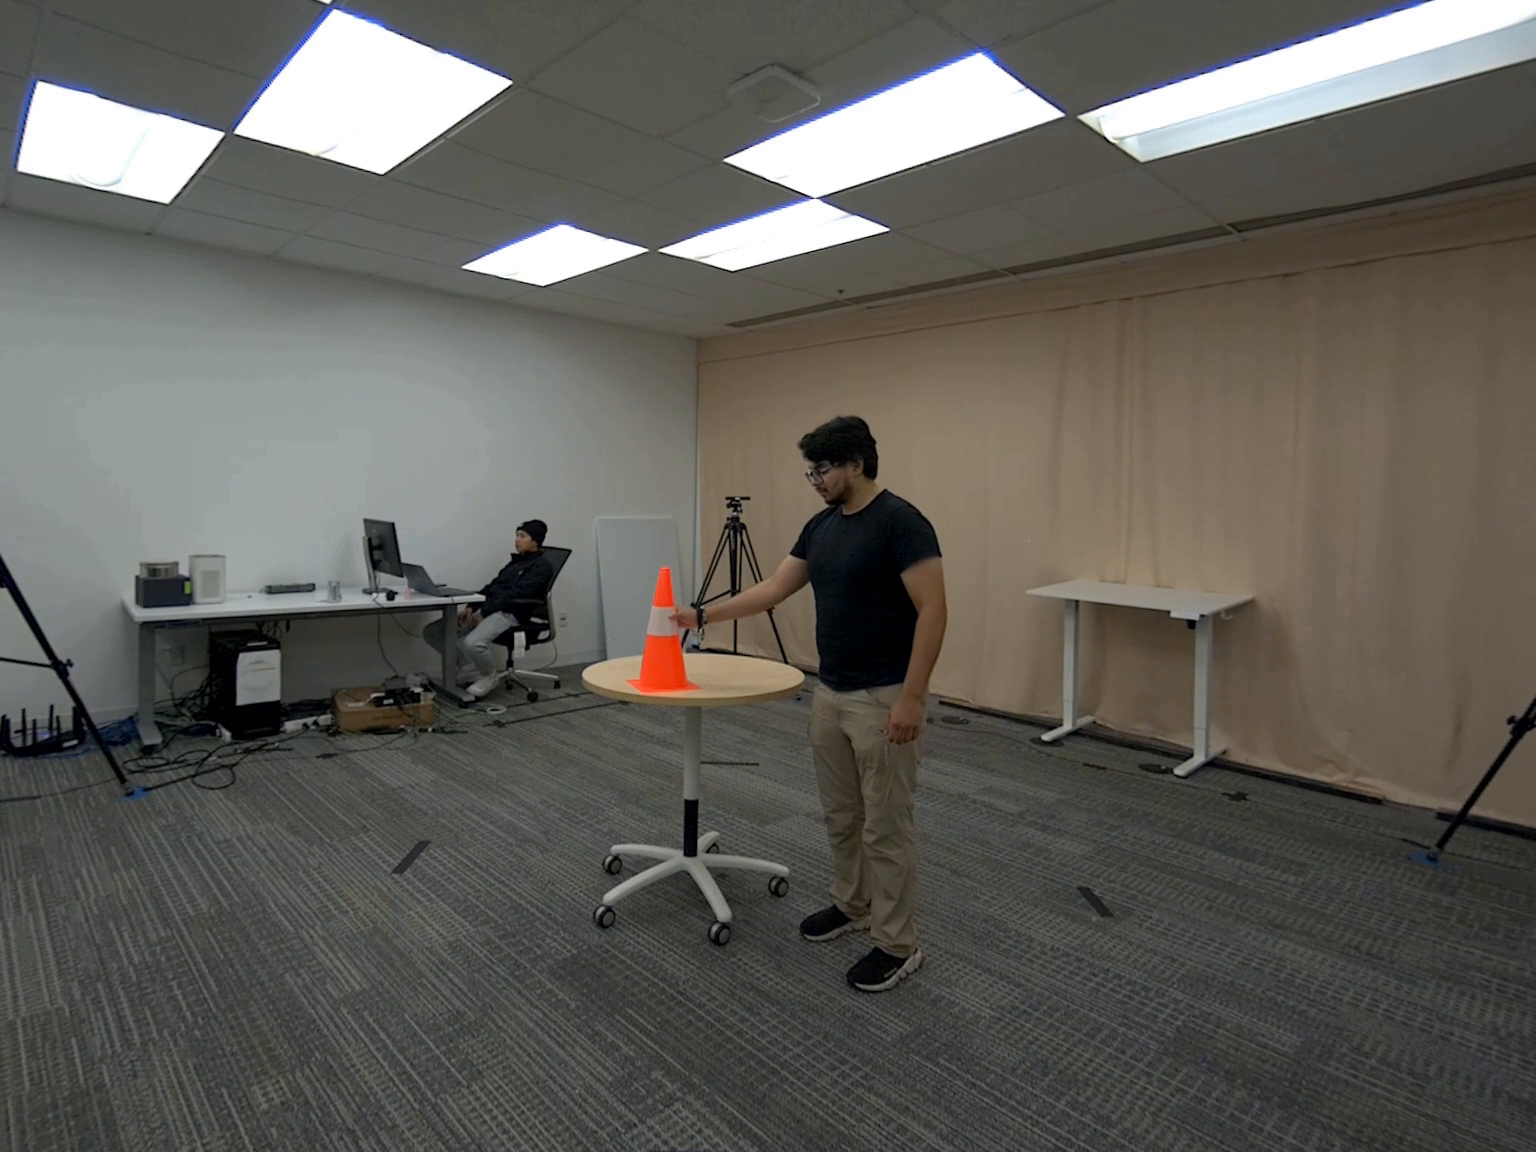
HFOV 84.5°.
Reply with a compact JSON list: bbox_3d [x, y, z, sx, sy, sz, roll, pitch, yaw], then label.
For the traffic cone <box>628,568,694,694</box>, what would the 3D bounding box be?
[{"bbox_3d":[-0.334,0.166,2.707,0.200,0.383,0.208,1,2,-33],"label":"traffic cone"}]
